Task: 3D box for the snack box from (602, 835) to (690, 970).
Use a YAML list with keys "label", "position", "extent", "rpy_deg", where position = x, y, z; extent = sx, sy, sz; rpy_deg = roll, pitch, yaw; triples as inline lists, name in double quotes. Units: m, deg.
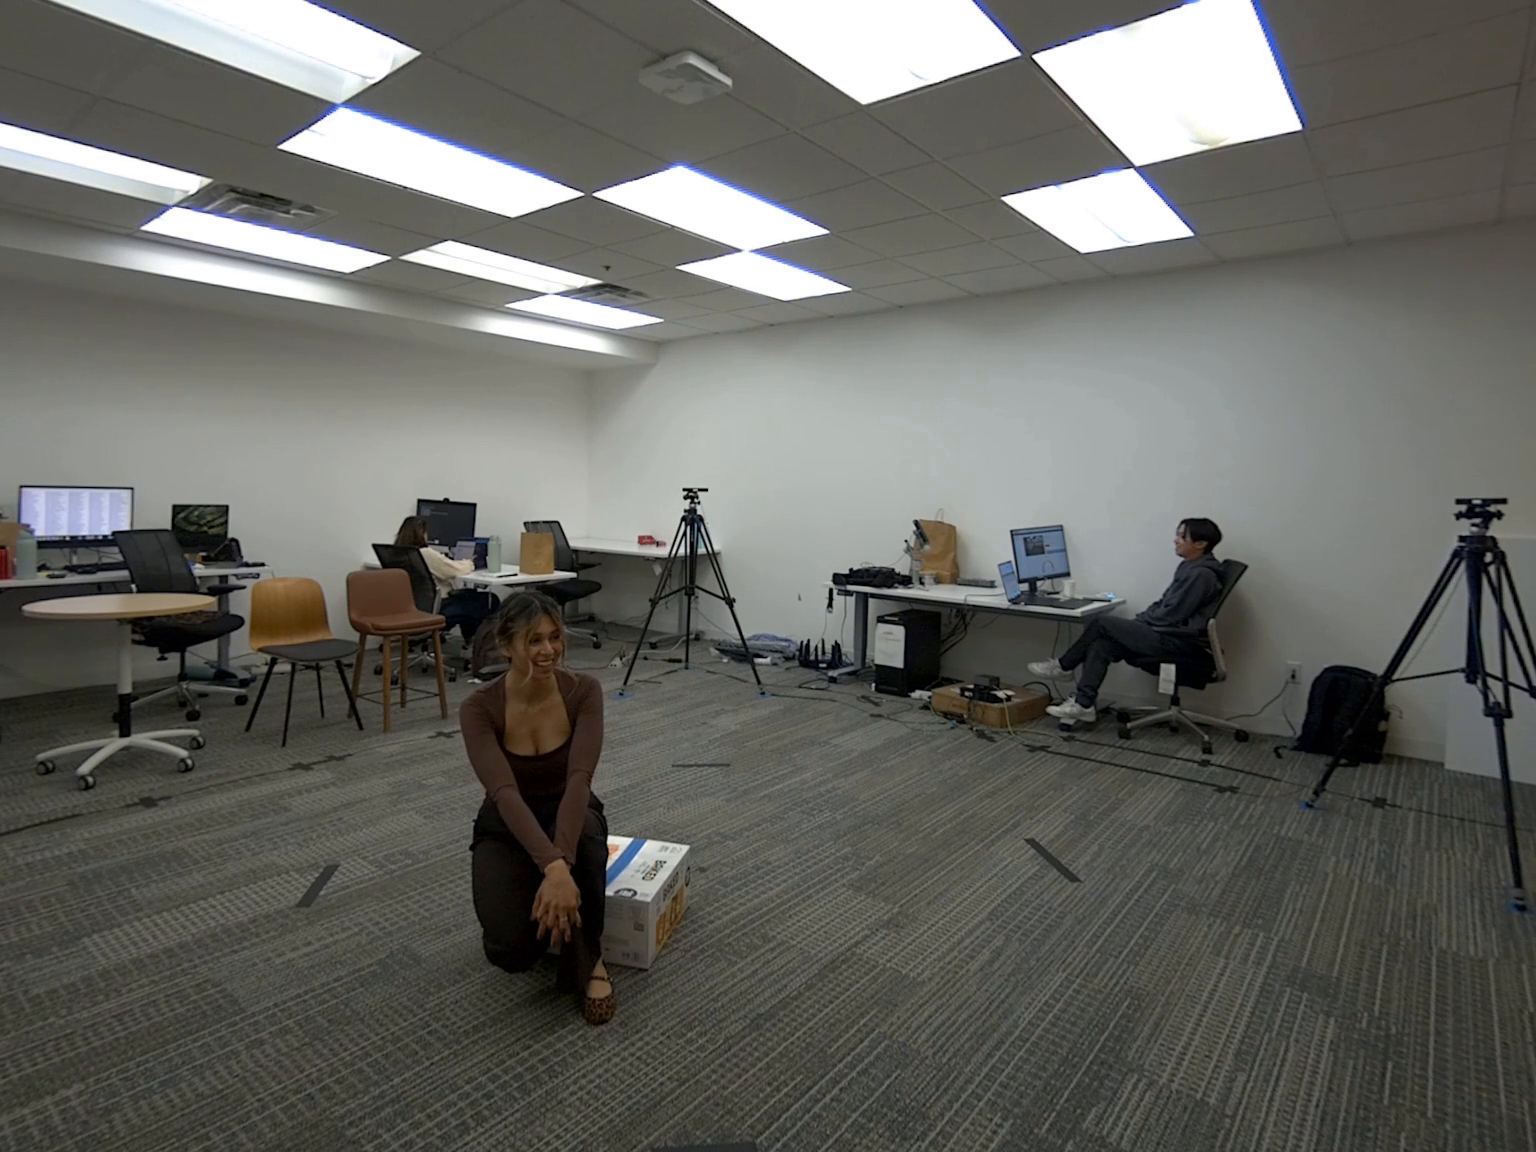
- label: "snack box"
  position: [-0.472, 1.006, 2.670]
  extent: [0.346, 0.205, 0.400]
  rpy_deg: [1, 5, 14]
